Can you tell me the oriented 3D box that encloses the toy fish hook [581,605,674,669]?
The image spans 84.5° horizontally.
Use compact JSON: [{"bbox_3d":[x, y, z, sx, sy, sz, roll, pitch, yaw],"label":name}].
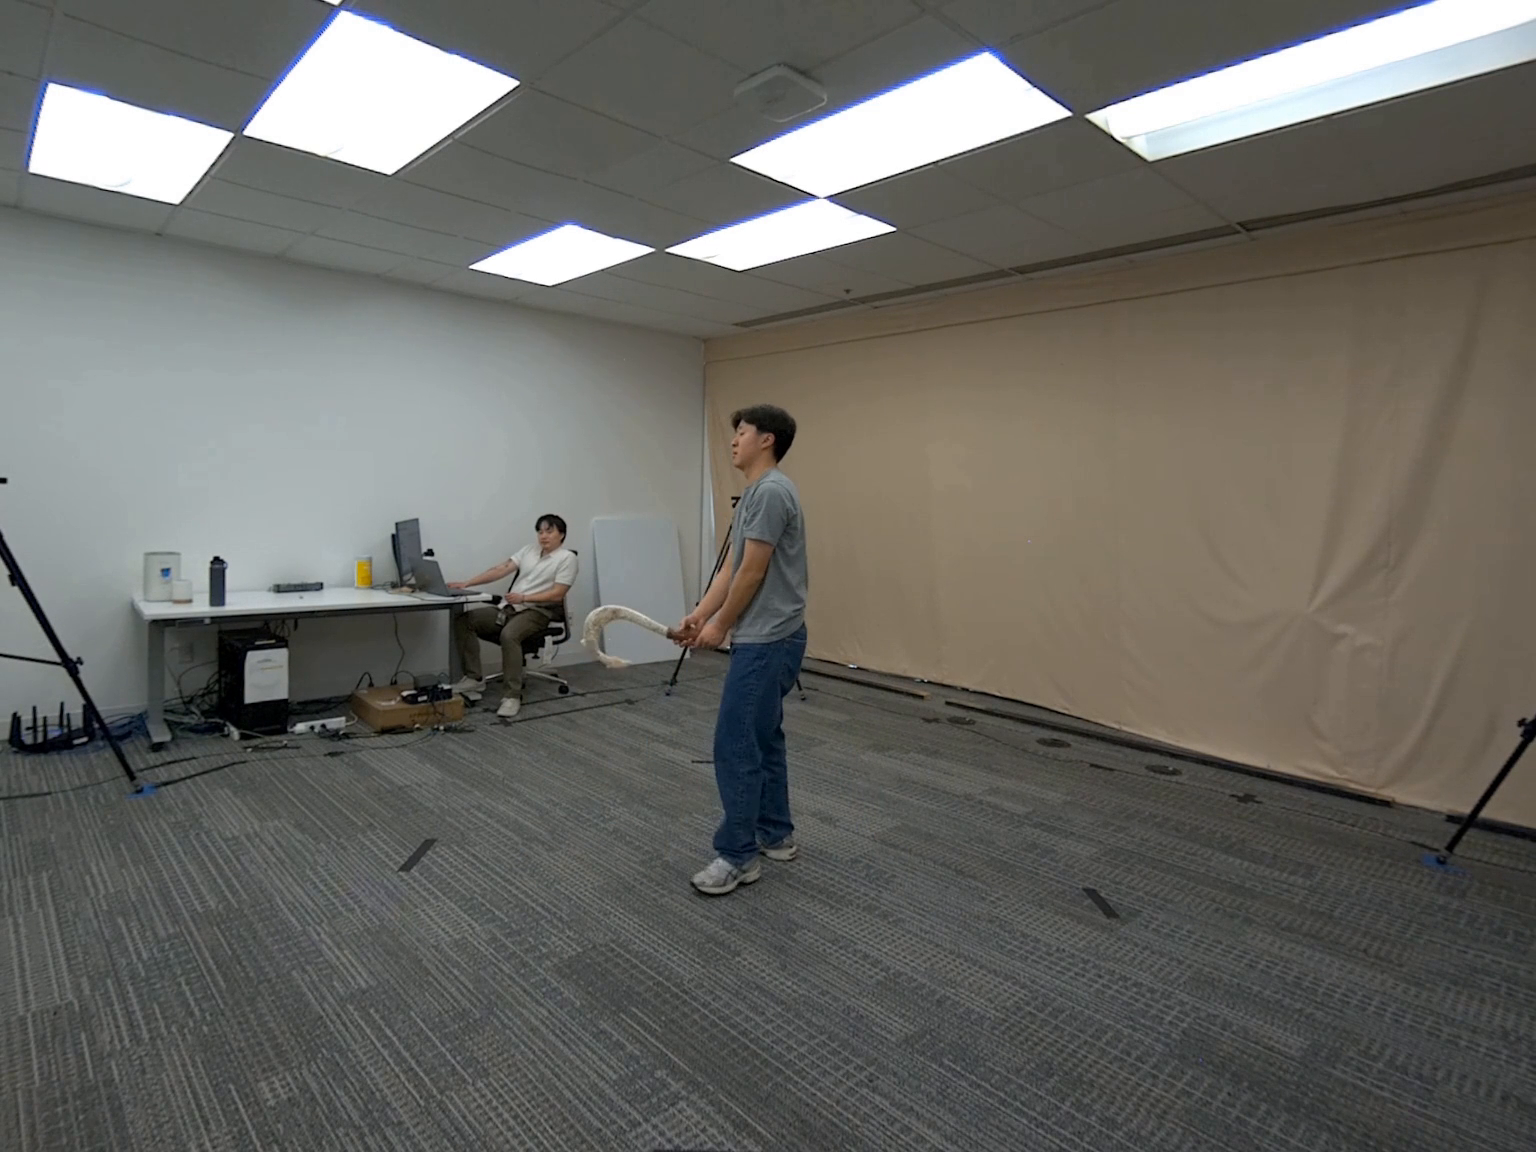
[{"bbox_3d":[-0.444,0.245,3.109,0.506,0.225,0.048,11,-4,-2],"label":"toy fish hook"}]
